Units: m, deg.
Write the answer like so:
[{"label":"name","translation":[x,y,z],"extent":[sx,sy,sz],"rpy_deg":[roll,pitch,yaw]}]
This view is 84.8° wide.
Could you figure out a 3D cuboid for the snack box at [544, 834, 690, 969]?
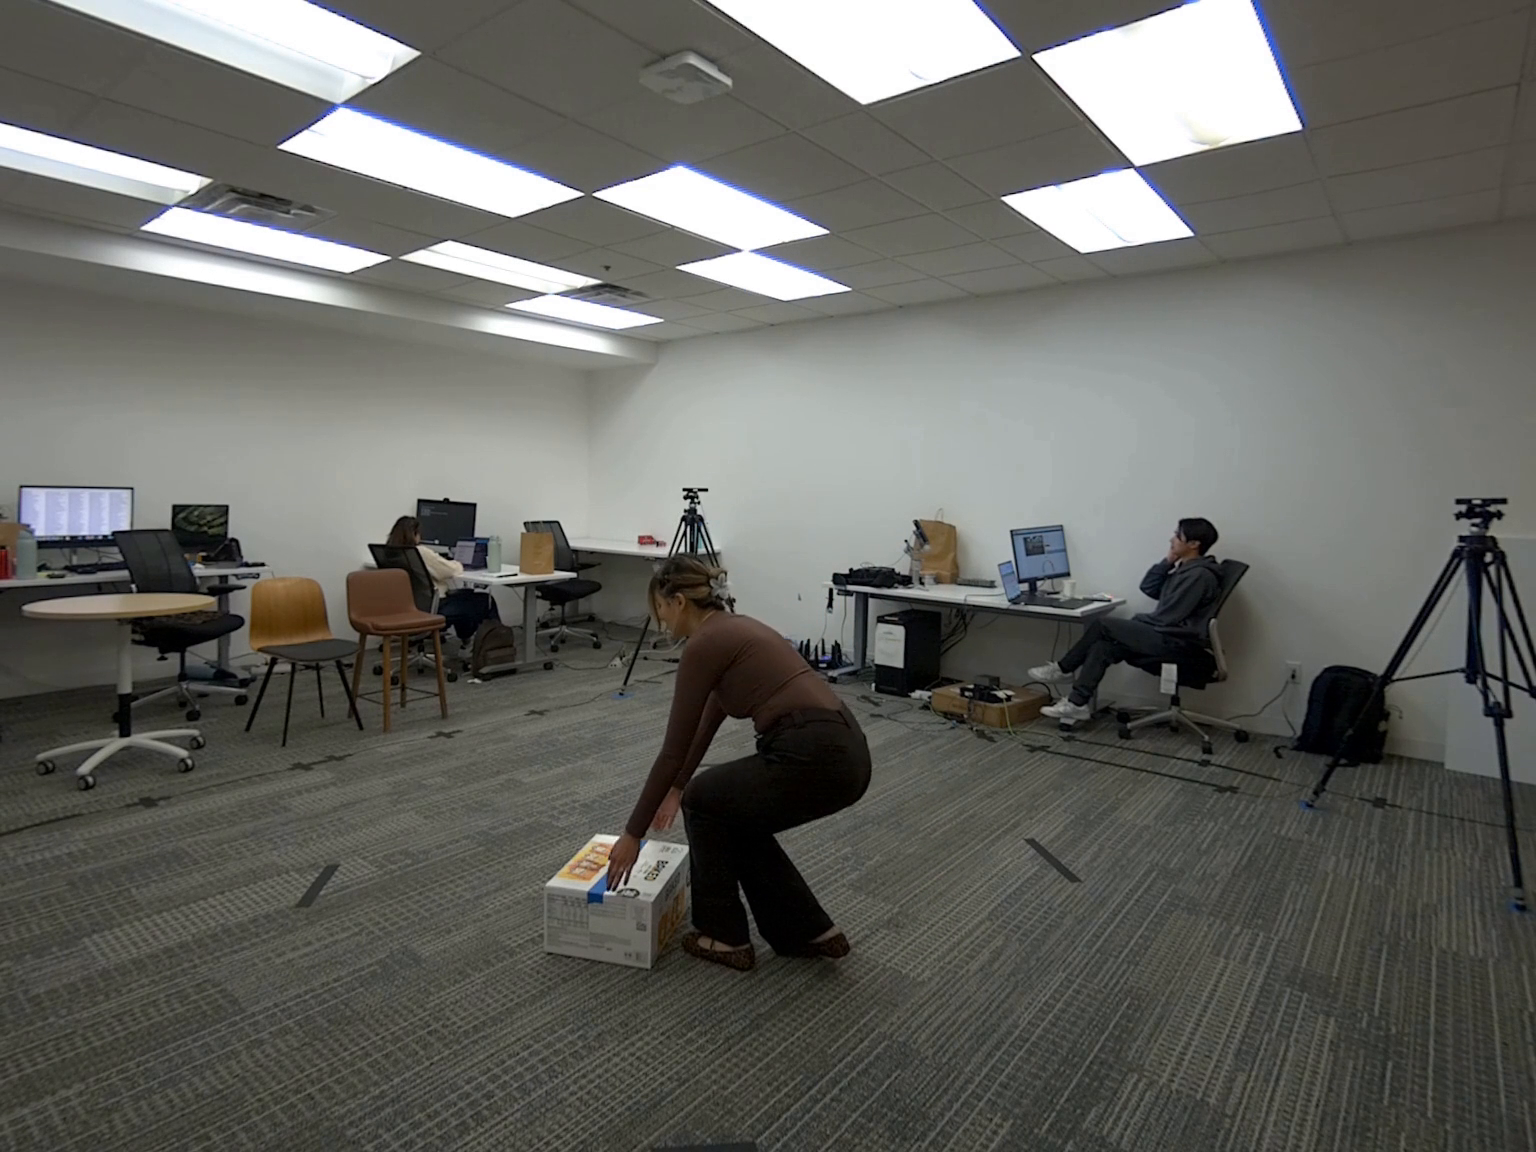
[{"label":"snack box","translation":[-0.469,1.004,2.672],"extent":[0.345,0.205,0.401],"rpy_deg":[2,5,13]}]
